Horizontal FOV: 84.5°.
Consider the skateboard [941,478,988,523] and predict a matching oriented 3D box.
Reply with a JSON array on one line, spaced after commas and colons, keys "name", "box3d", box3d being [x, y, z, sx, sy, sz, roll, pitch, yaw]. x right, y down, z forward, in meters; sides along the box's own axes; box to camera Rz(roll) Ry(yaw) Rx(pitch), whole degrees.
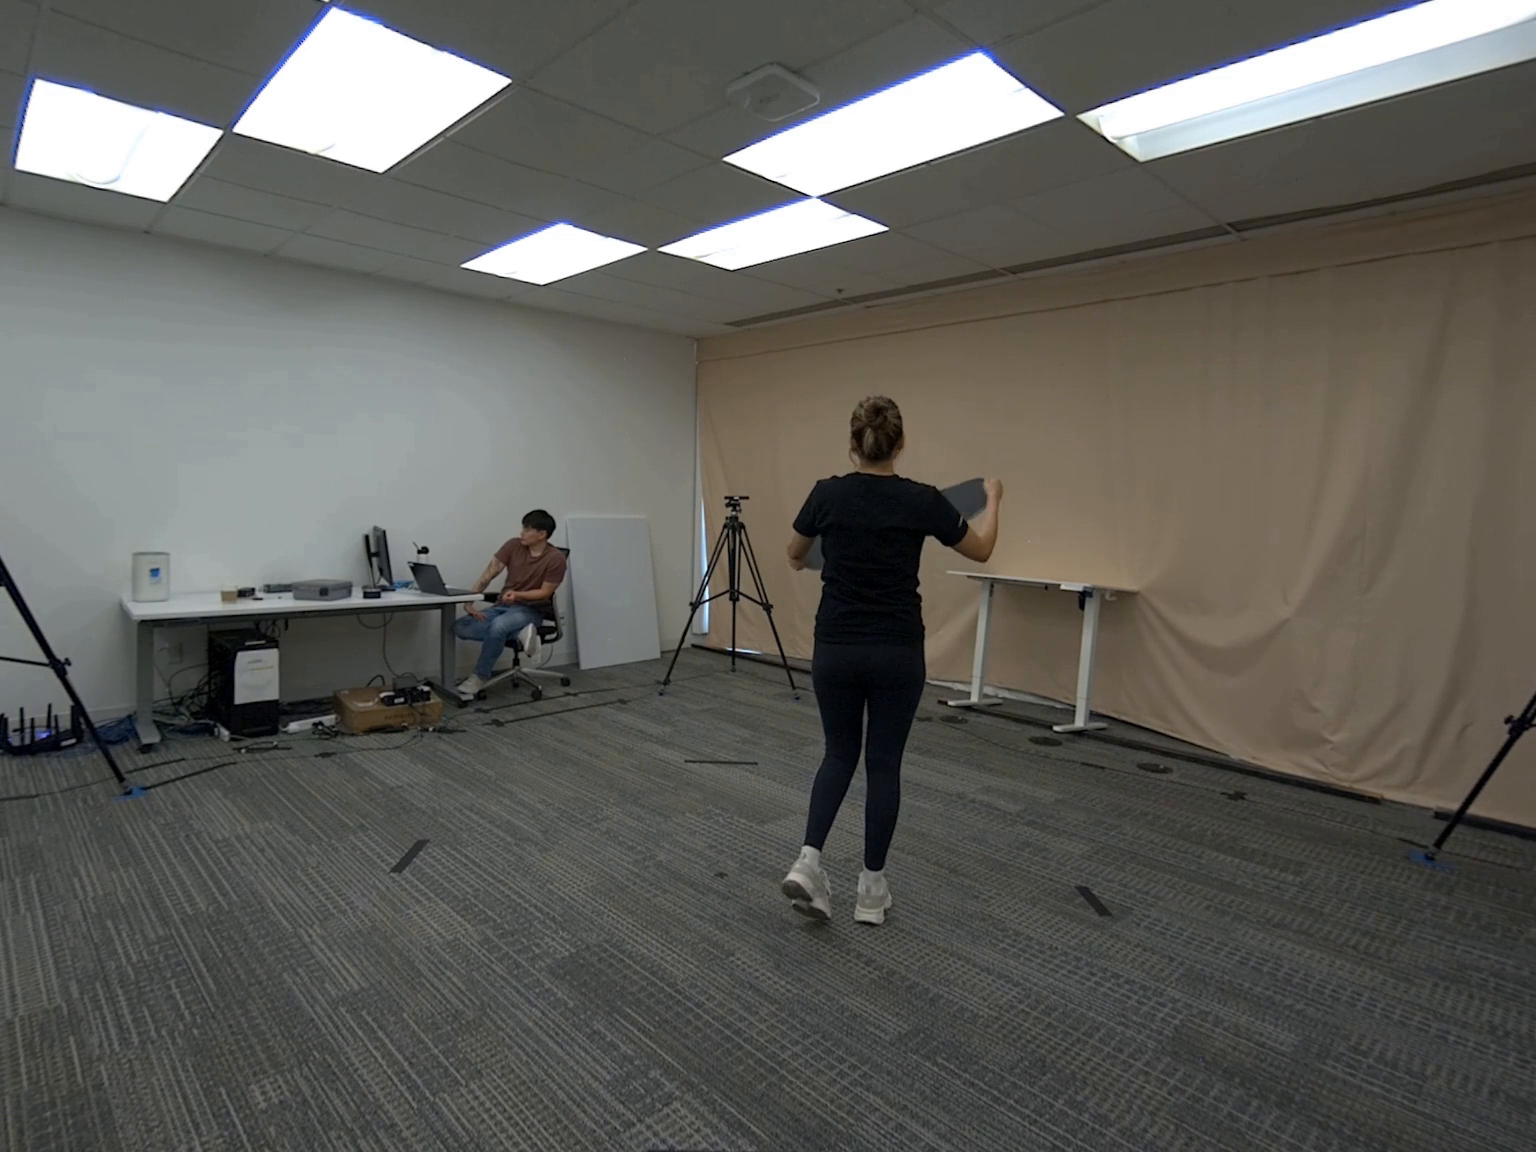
[{"name": "skateboard", "box3d": [0.487, -0.167, 3.197, 0.794, 0.197, 0.107, -19, -47, 23]}]
